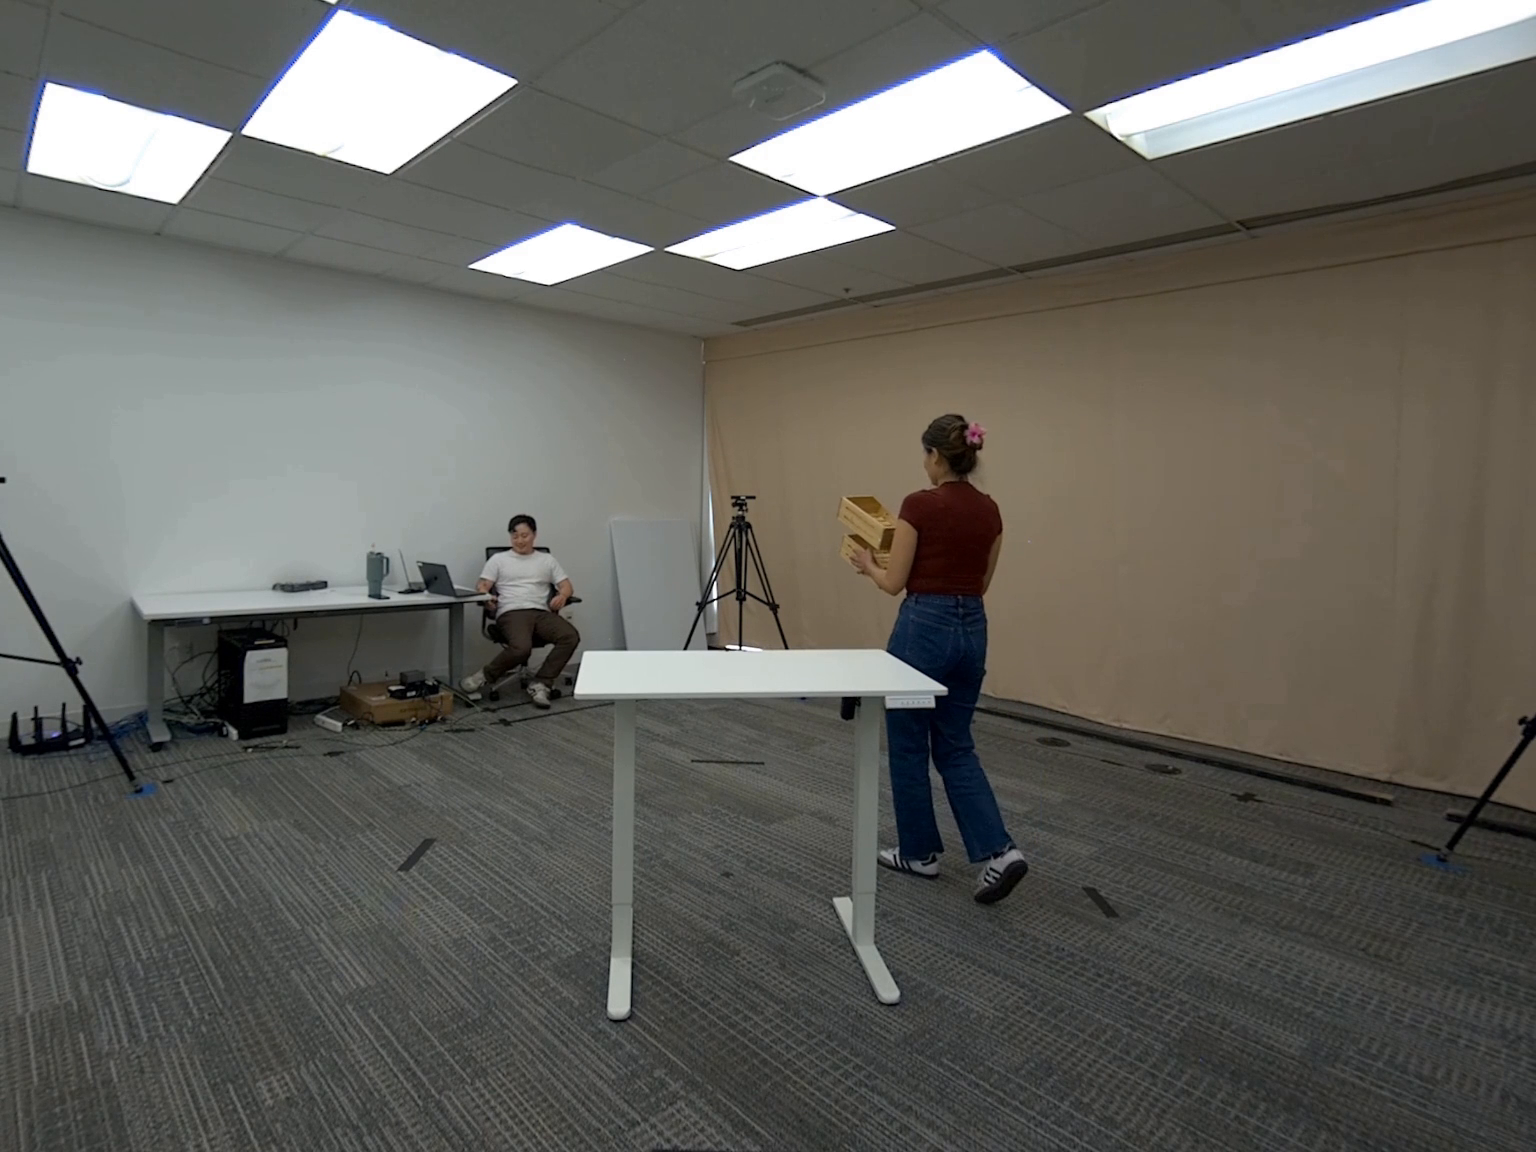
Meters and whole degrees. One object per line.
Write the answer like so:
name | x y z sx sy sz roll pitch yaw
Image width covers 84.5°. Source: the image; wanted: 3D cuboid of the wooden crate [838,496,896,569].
wooden crate | 0.467 -0.142 3.329 0.296 0.270 0.335 -3 28 -27
